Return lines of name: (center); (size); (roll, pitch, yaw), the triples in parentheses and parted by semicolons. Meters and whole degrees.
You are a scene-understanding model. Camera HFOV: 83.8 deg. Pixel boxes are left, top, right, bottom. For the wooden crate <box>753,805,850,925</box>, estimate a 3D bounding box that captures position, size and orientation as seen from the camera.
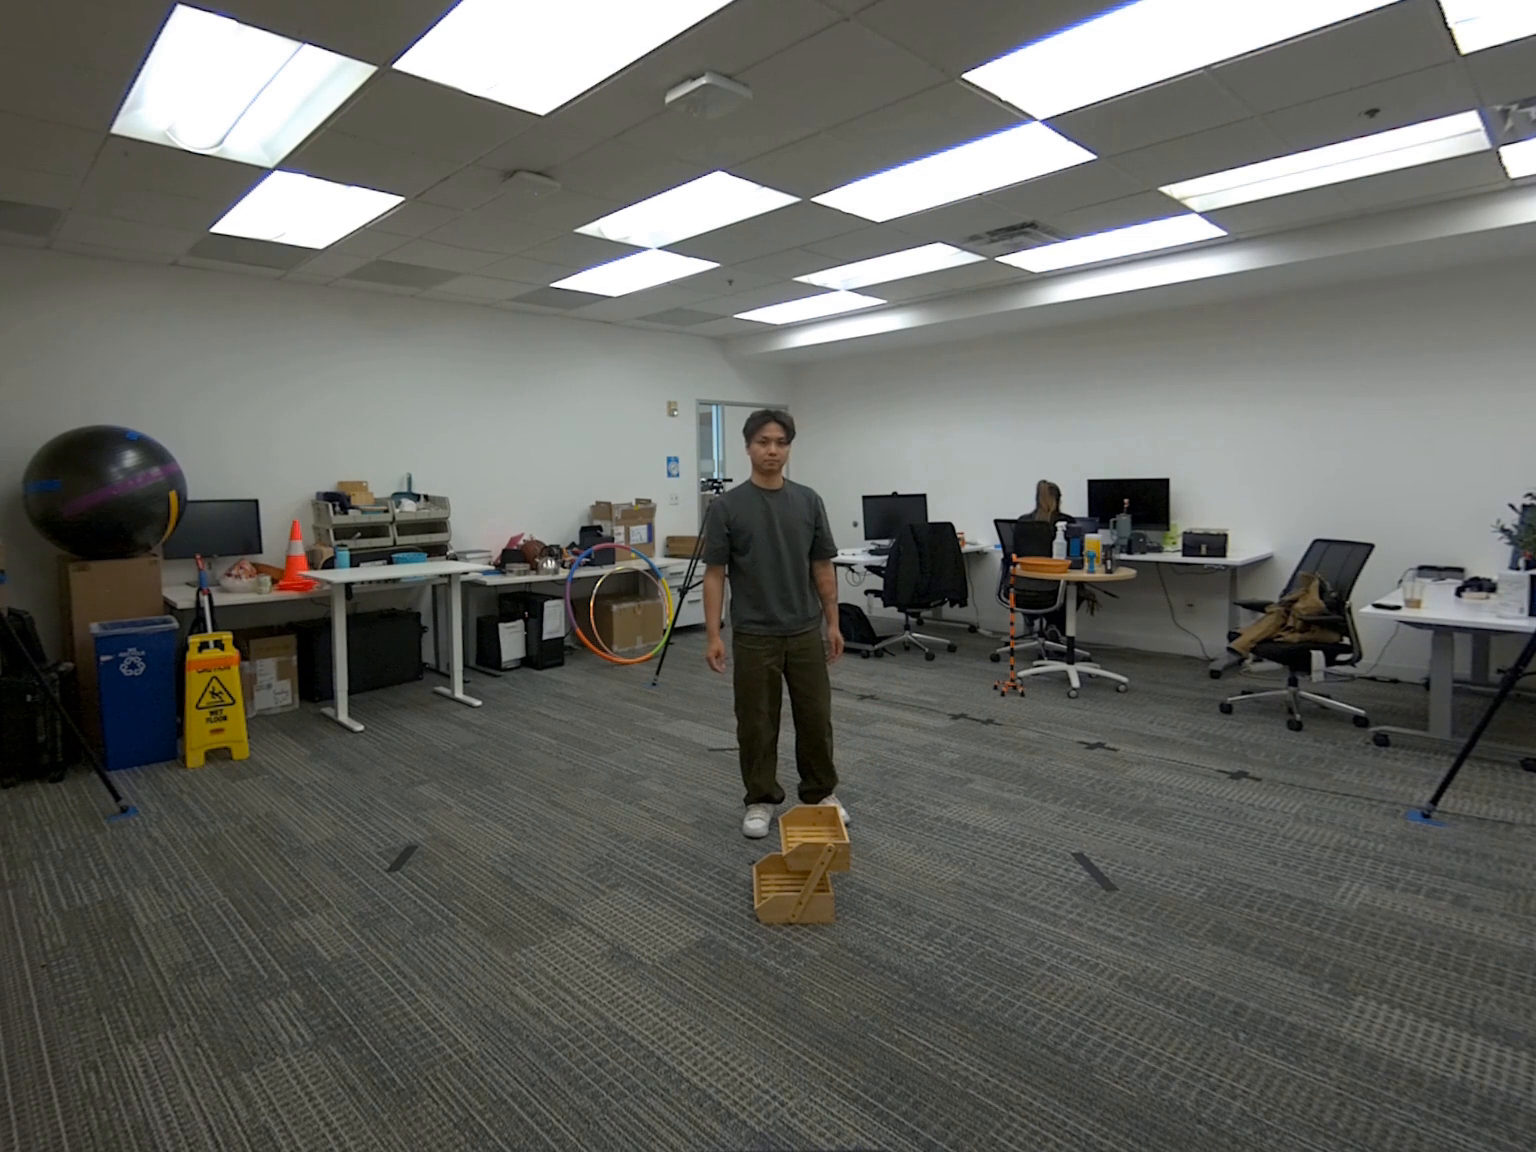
wooden crate: (0.090, 0.948, 2.817); (0.302, 0.272, 0.326); (-1, 6, -2)
